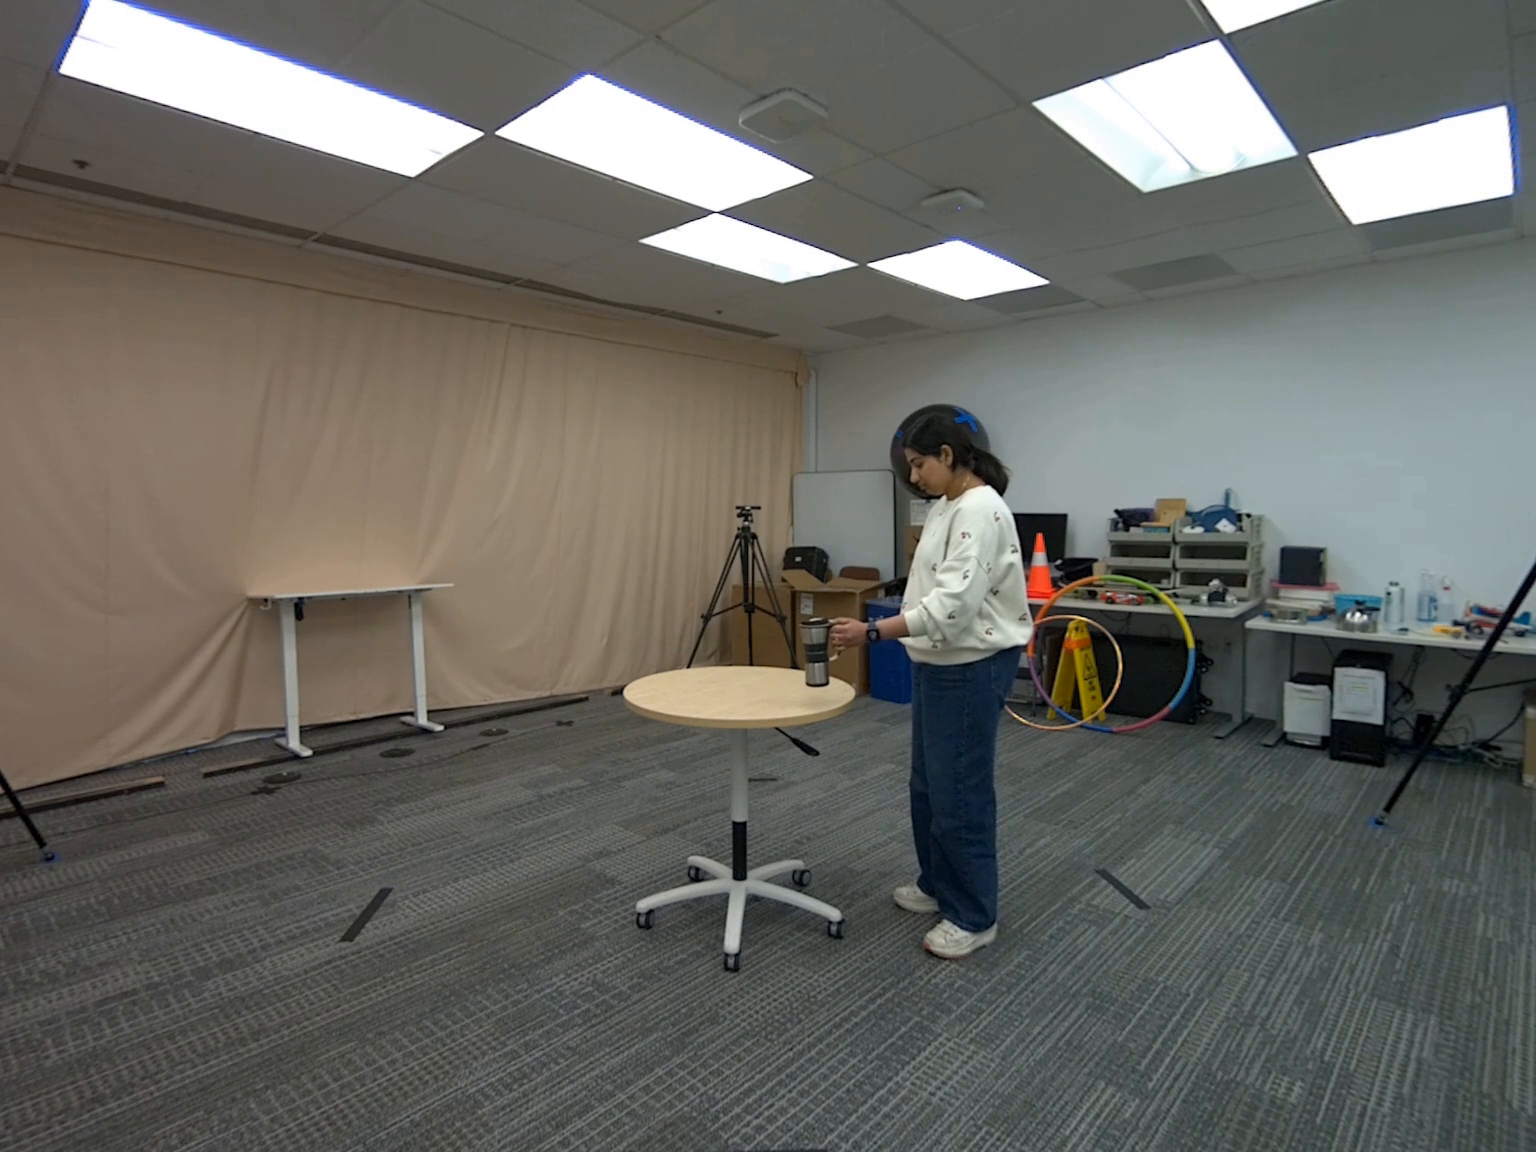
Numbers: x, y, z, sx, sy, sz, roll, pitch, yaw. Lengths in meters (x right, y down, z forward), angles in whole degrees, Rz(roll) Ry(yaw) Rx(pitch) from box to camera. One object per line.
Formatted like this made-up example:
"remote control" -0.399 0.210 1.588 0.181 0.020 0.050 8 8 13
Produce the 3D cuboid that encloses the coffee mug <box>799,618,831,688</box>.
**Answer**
"coffee mug" 0.162 0.236 2.521 0.085 0.203 0.126 1 2 -35
